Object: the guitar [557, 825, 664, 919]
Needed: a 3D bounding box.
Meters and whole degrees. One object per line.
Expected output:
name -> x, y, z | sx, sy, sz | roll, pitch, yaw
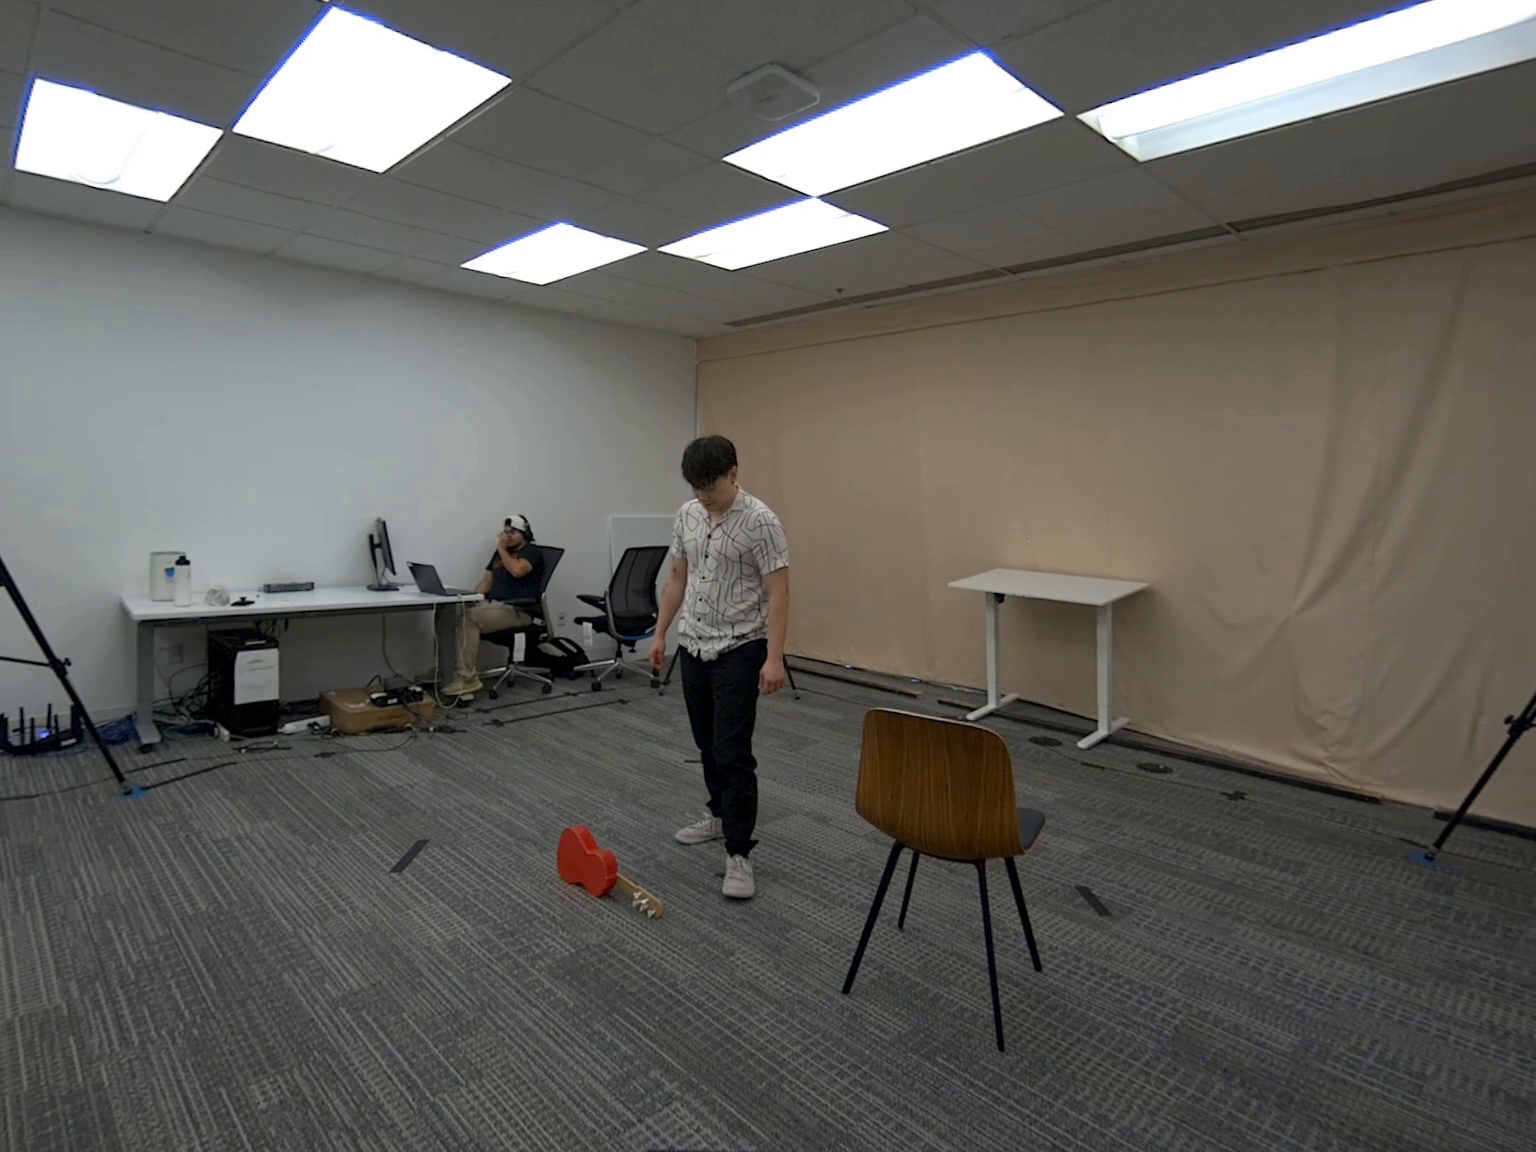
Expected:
guitar -> -0.555, 1.021, 2.911 | 0.510, 0.193, 0.069 | 6, 1, 40
